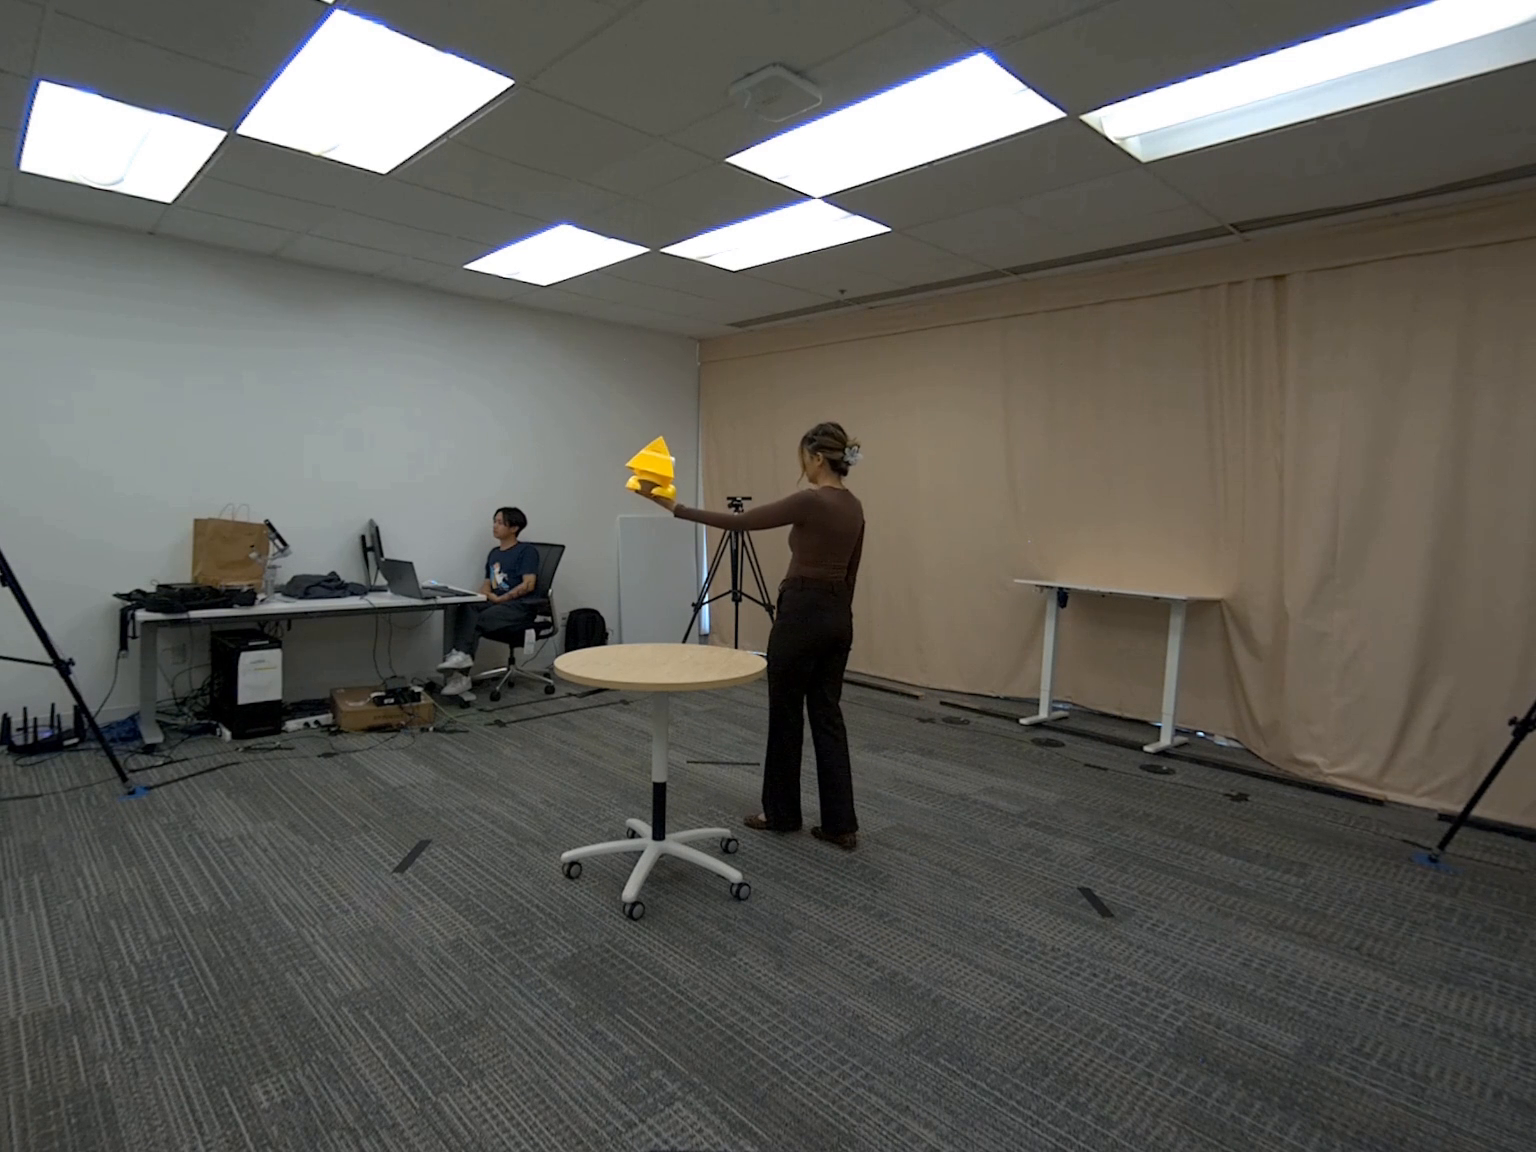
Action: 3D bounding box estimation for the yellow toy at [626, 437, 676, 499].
[{"bbox_3d":[-0.453,-0.444,3.399,0.206,0.231,0.191,14,-2,8],"label":"yellow toy"}]
